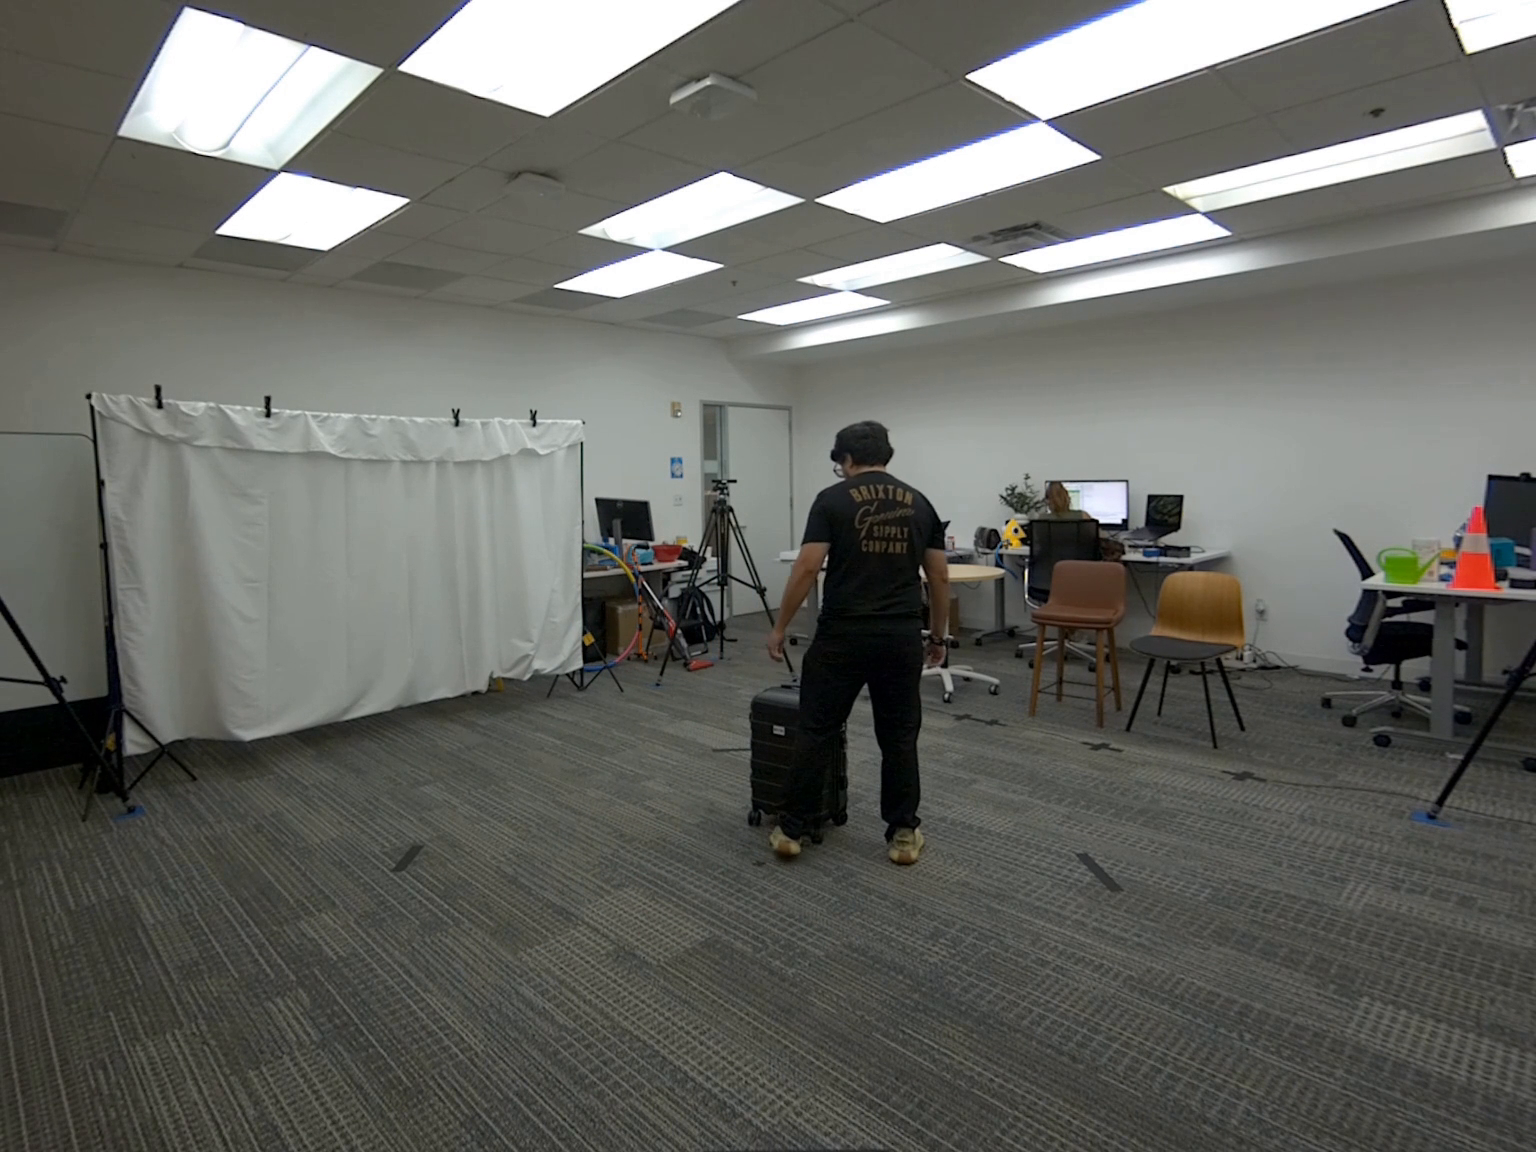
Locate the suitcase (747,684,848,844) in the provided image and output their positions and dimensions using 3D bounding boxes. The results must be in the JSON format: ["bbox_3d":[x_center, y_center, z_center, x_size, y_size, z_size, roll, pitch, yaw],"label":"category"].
[{"bbox_3d":[0.127,0.729,3.466,0.386,0.547,0.242,3,5,35],"label":"suitcase"}]
